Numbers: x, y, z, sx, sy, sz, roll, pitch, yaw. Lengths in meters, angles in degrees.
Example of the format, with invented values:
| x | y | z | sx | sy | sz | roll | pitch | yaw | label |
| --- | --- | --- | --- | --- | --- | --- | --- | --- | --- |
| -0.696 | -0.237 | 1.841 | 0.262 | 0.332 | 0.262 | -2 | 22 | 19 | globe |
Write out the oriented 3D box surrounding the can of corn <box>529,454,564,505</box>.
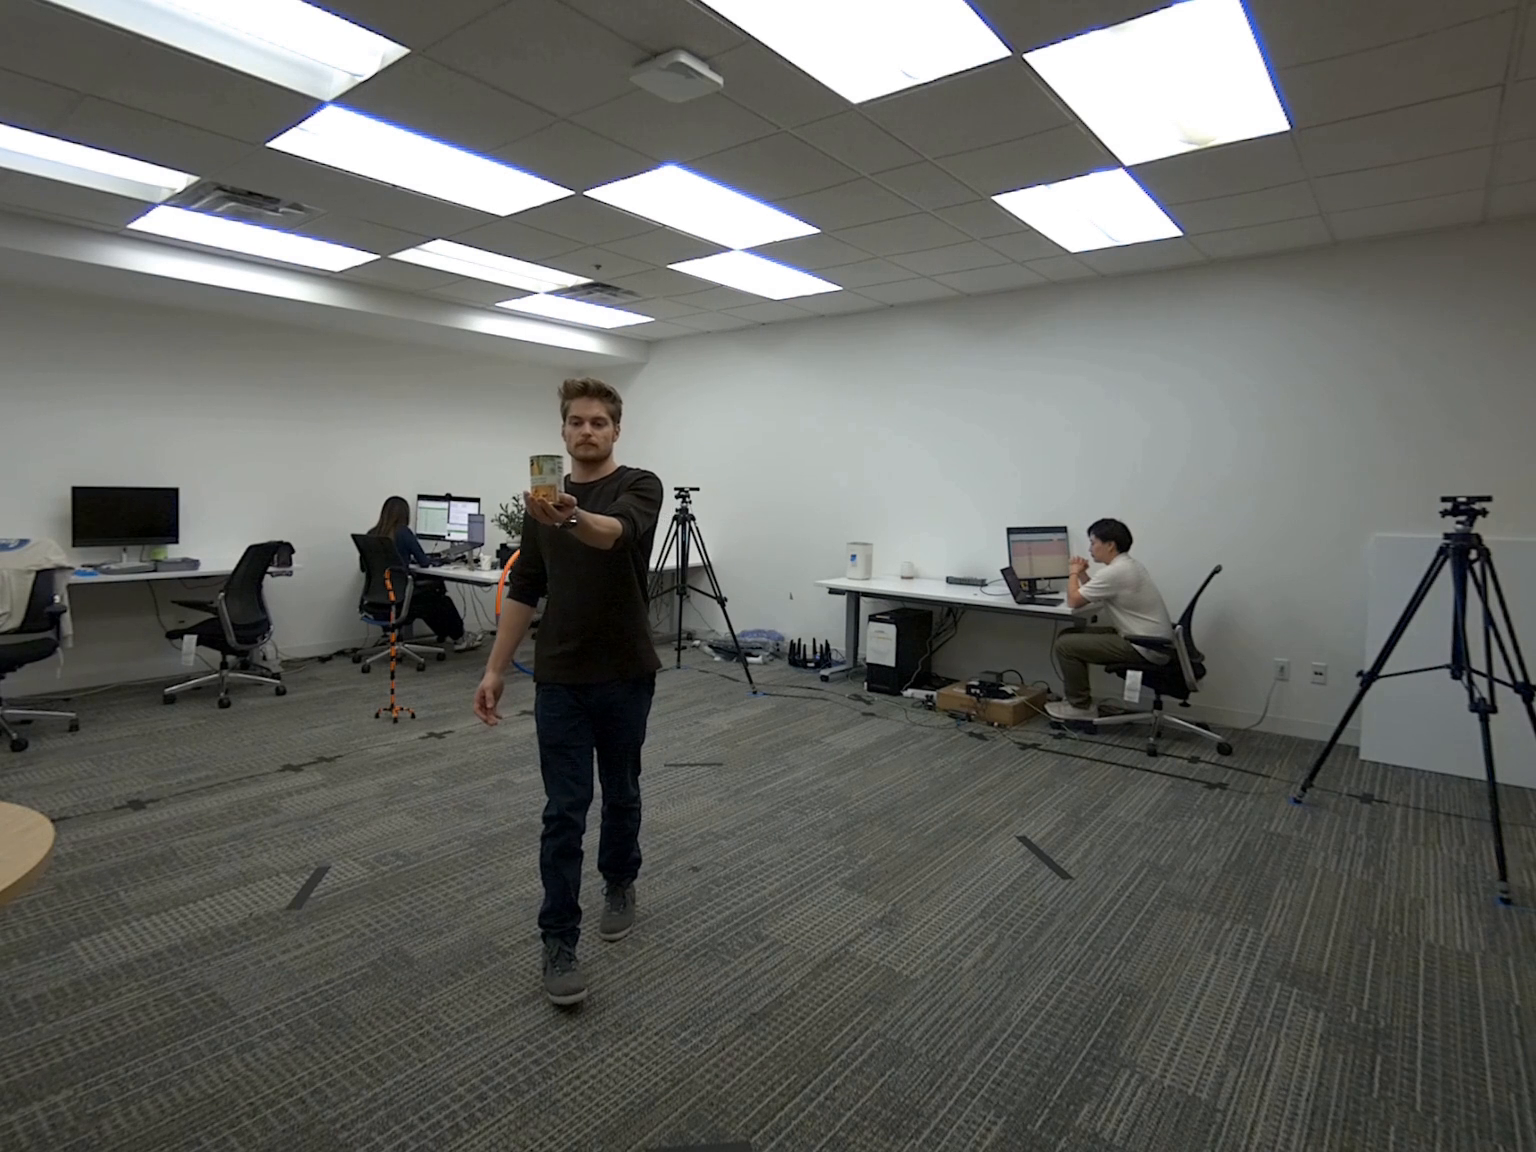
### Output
| x | y | z | sx | sy | sz | roll | pitch | yaw | label |
| --- | --- | --- | --- | --- | --- | --- | --- | --- | --- |
| -0.505 | -0.217 | 1.921 | 0.074 | 0.111 | 0.074 | -1 | -1 | -2 | can of corn |
